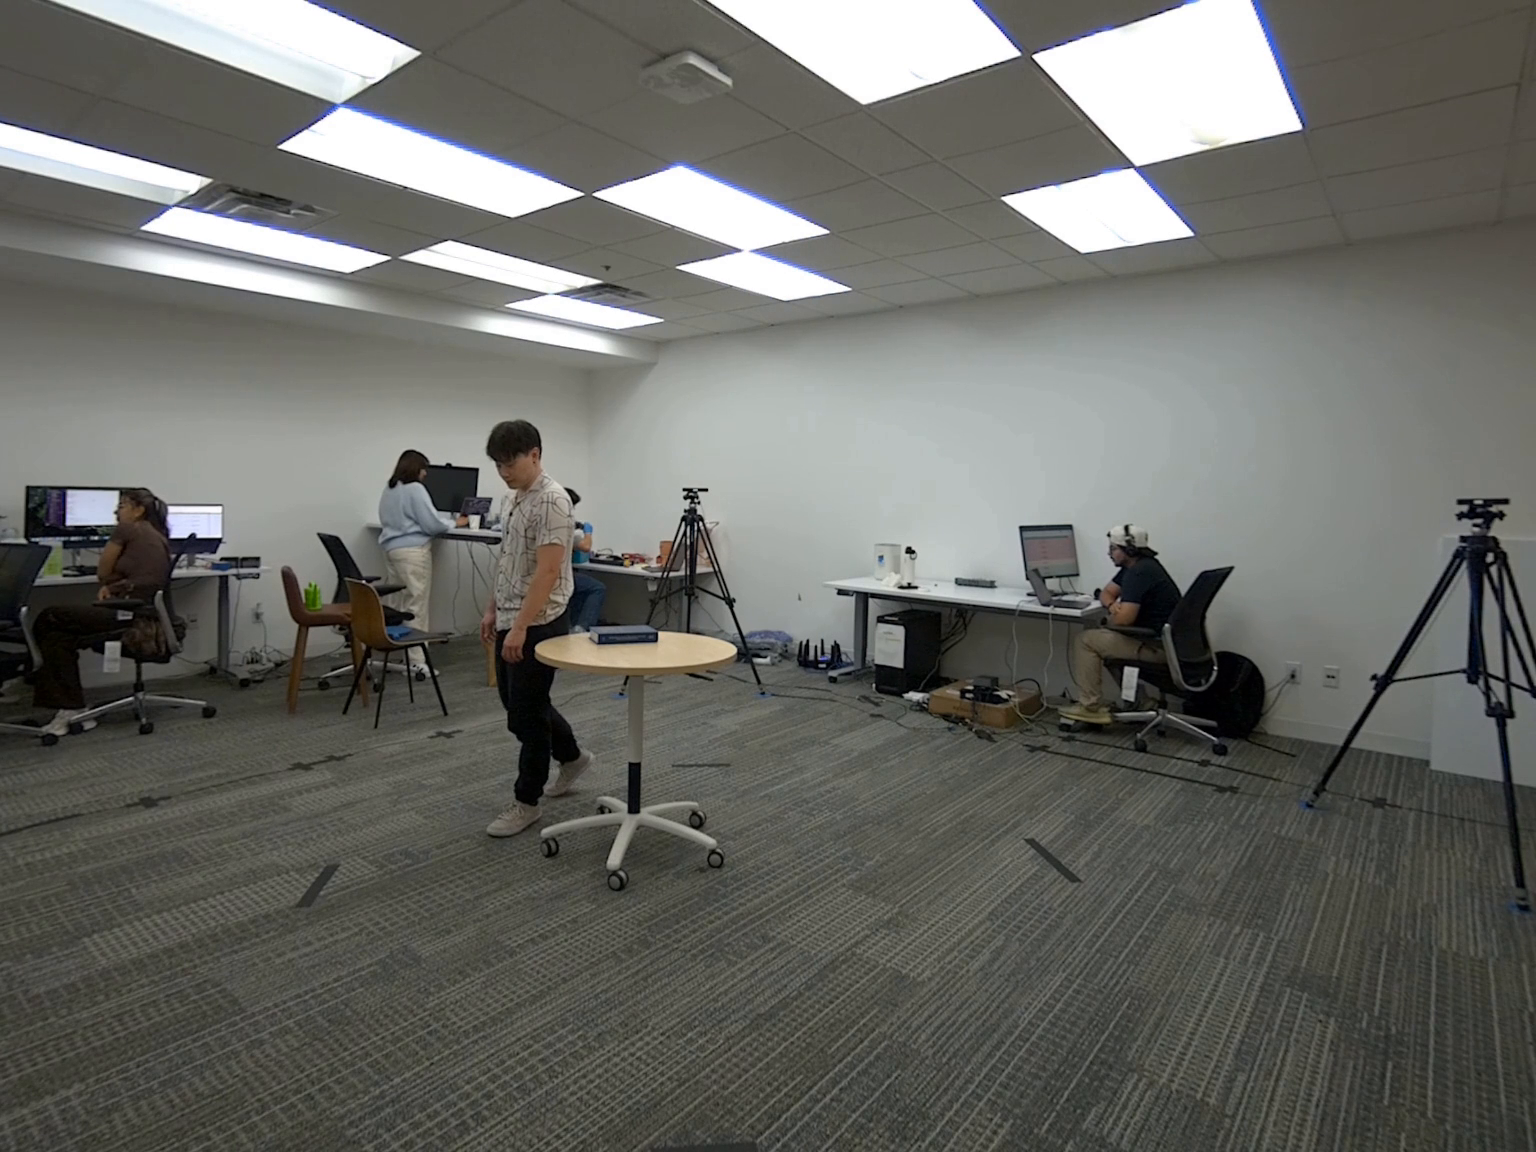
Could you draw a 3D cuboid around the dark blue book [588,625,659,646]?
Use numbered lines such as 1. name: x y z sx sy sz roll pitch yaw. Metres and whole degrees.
1. dark blue book: -0.590 0.233 3.393 0.240 0.045 0.167 -1 6 -22
